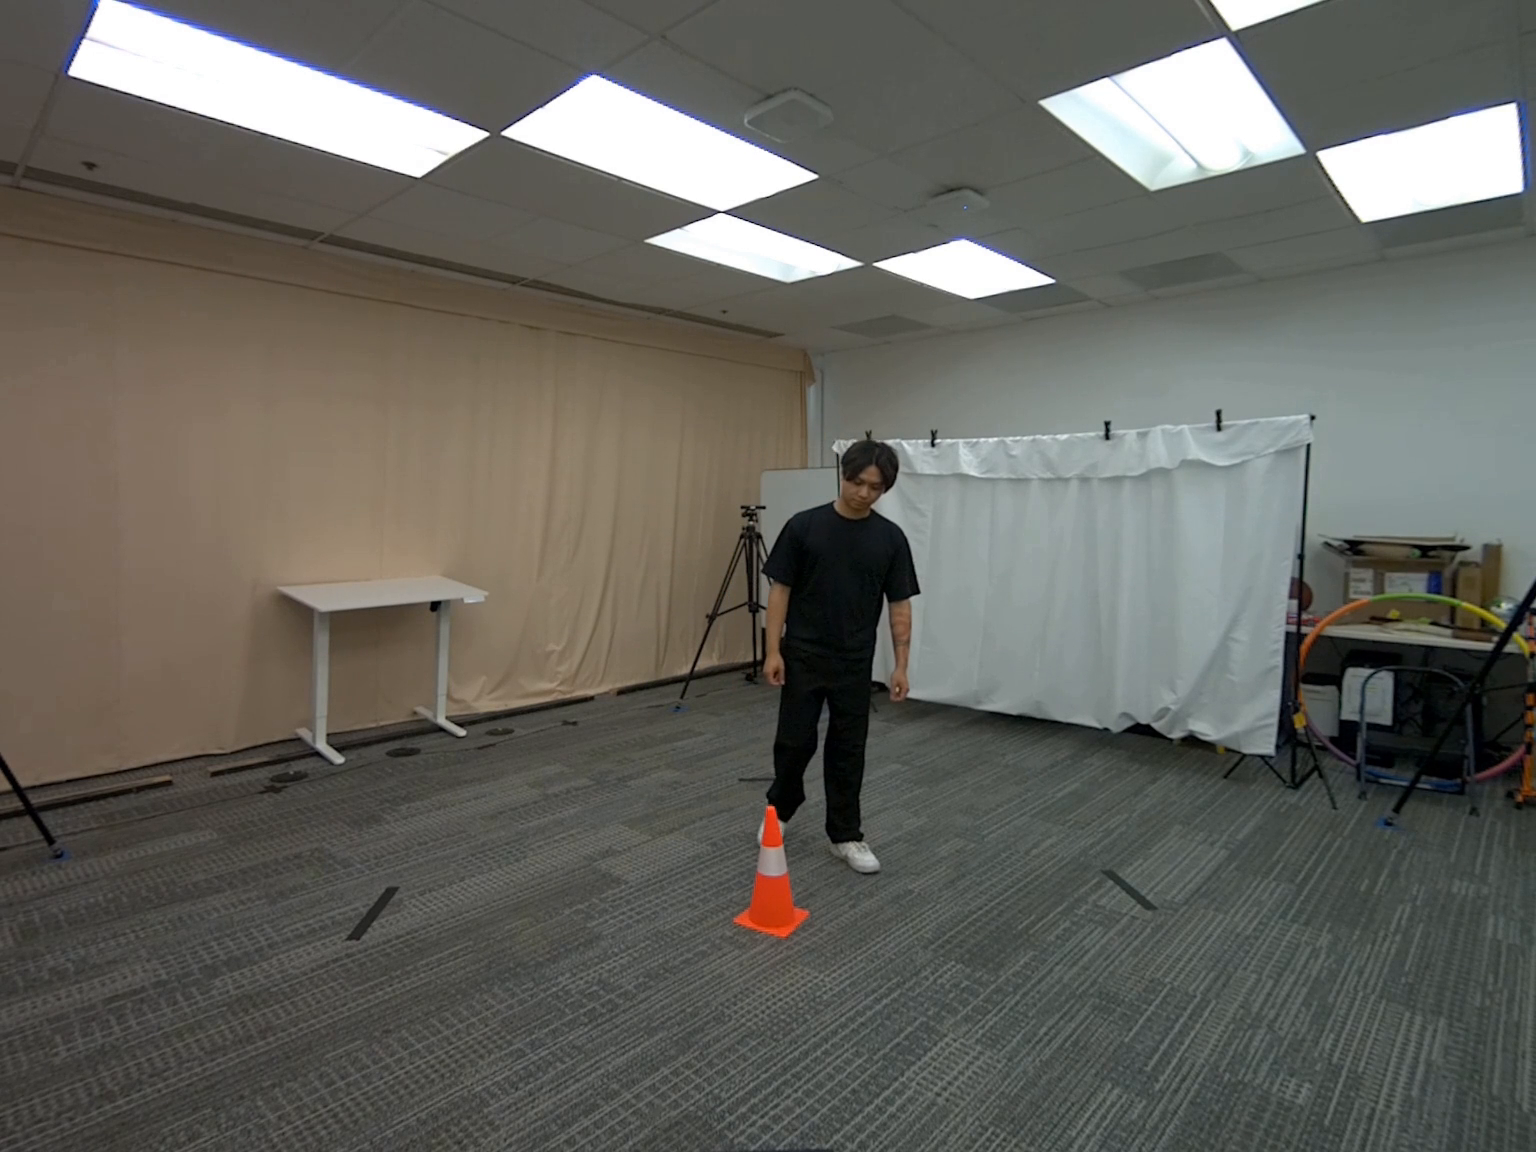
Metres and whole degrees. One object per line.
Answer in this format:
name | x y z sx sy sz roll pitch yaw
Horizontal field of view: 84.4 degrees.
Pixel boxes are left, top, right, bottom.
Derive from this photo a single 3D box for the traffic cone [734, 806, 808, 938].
traffic cone | 0.014 0.972 2.839 0.211 0.383 0.197 1 2 40
